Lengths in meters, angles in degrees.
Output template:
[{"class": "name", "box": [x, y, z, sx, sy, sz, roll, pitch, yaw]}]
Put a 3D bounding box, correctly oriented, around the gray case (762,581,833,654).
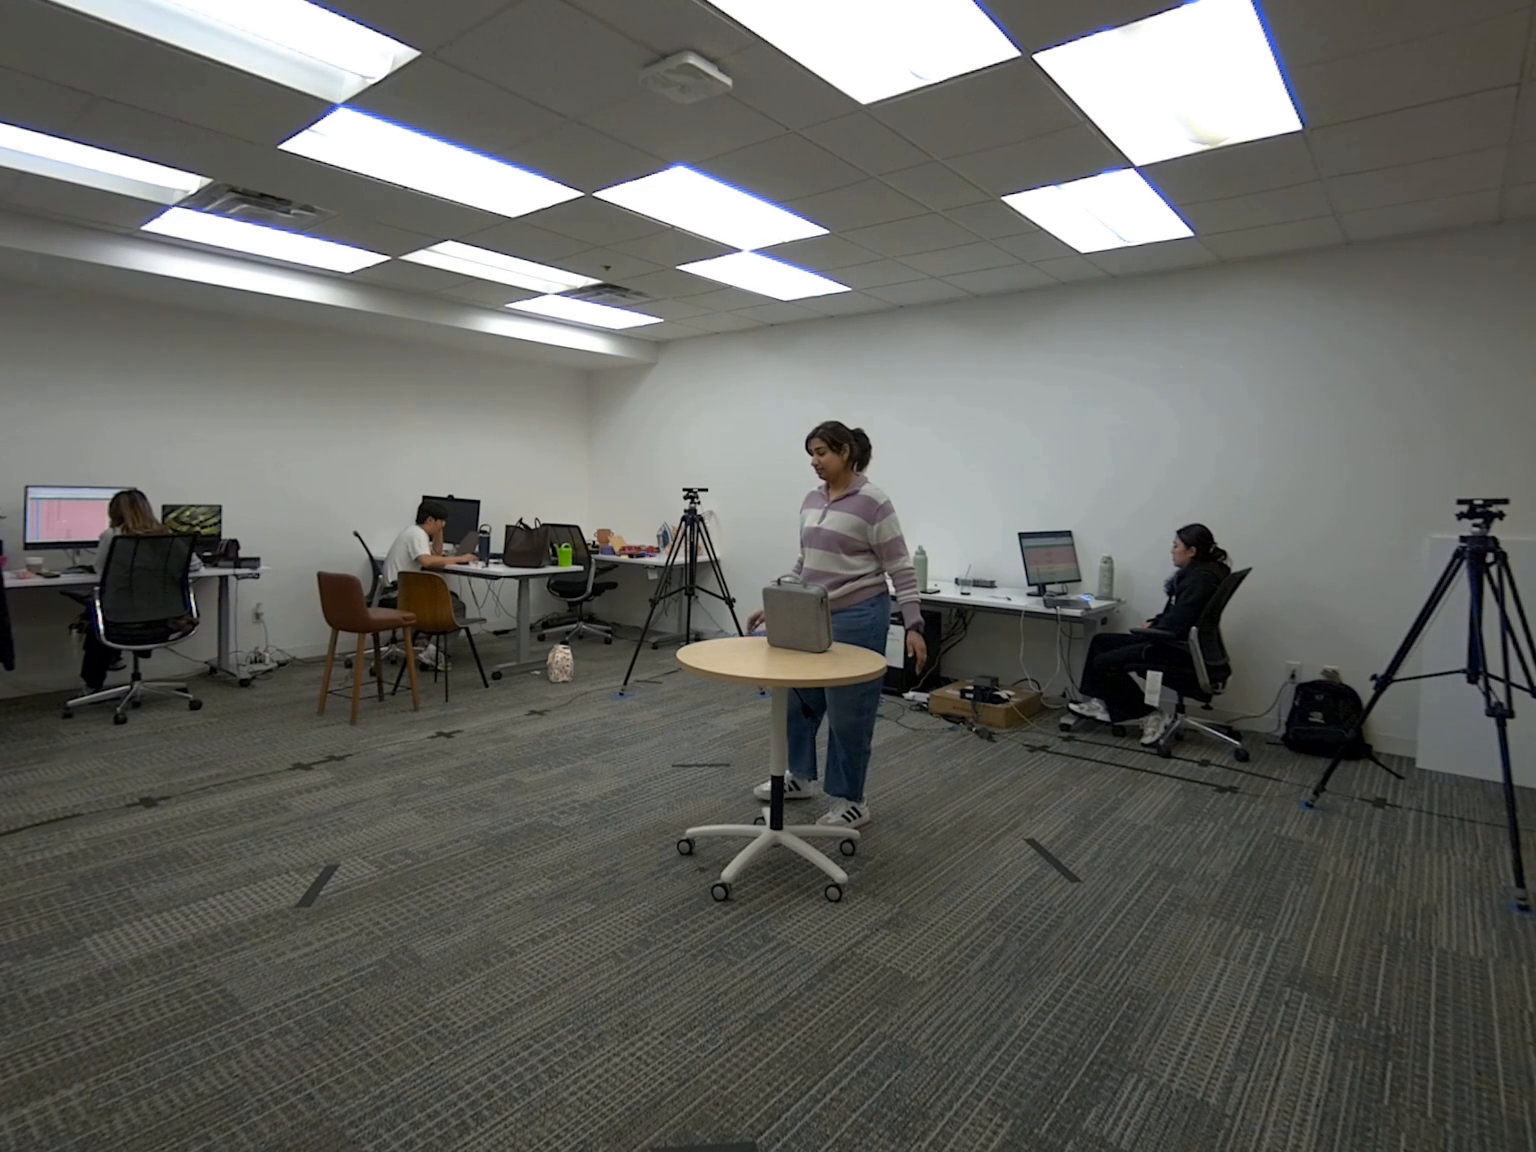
[{"class": "gray case", "box": [0.102, 0.146, 3.237, 0.265, 0.257, 0.102, 4, 16, 36]}]
